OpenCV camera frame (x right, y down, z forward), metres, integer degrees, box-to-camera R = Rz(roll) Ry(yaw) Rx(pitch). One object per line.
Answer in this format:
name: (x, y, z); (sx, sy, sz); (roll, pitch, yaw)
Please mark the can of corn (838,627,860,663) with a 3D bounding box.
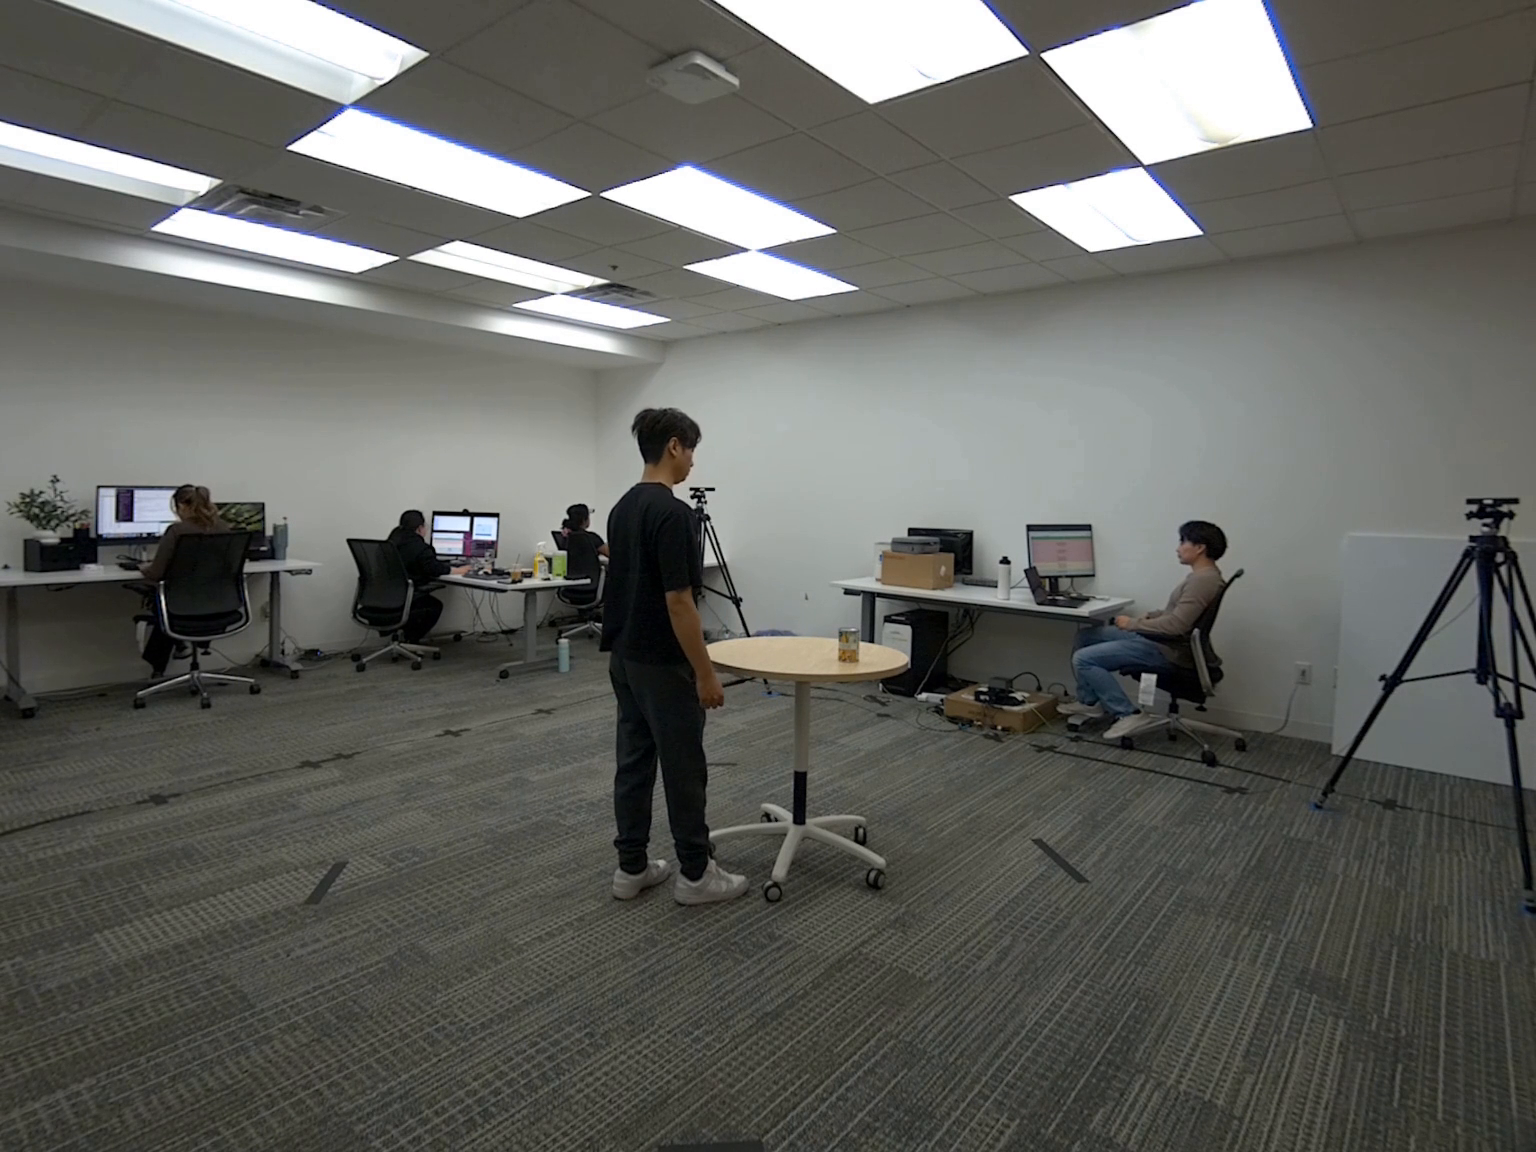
can of corn: (0.281, 0.246, 3.033); (0.074, 0.110, 0.075); (3, 6, -2)
